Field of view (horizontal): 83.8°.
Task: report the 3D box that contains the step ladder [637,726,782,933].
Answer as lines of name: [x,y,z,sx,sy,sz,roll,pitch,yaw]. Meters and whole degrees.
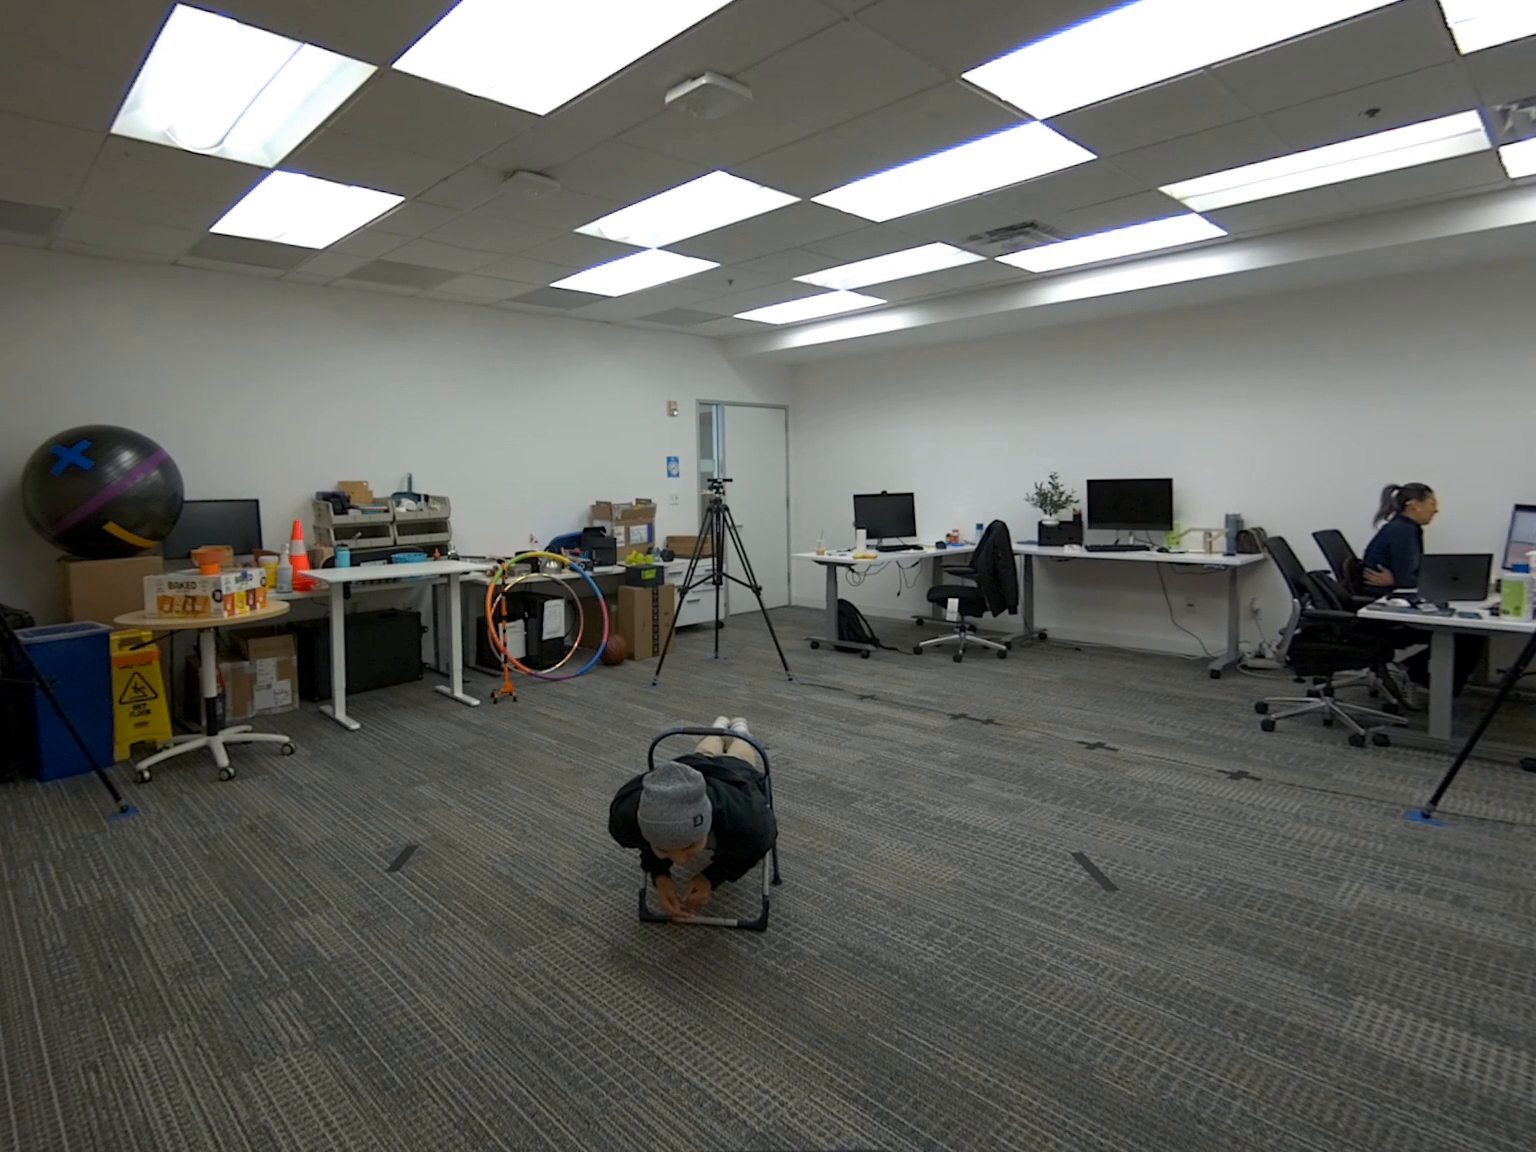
step ladder: [-0.185,0.783,2.818,0.434,0.603,0.348,0,6,8]
